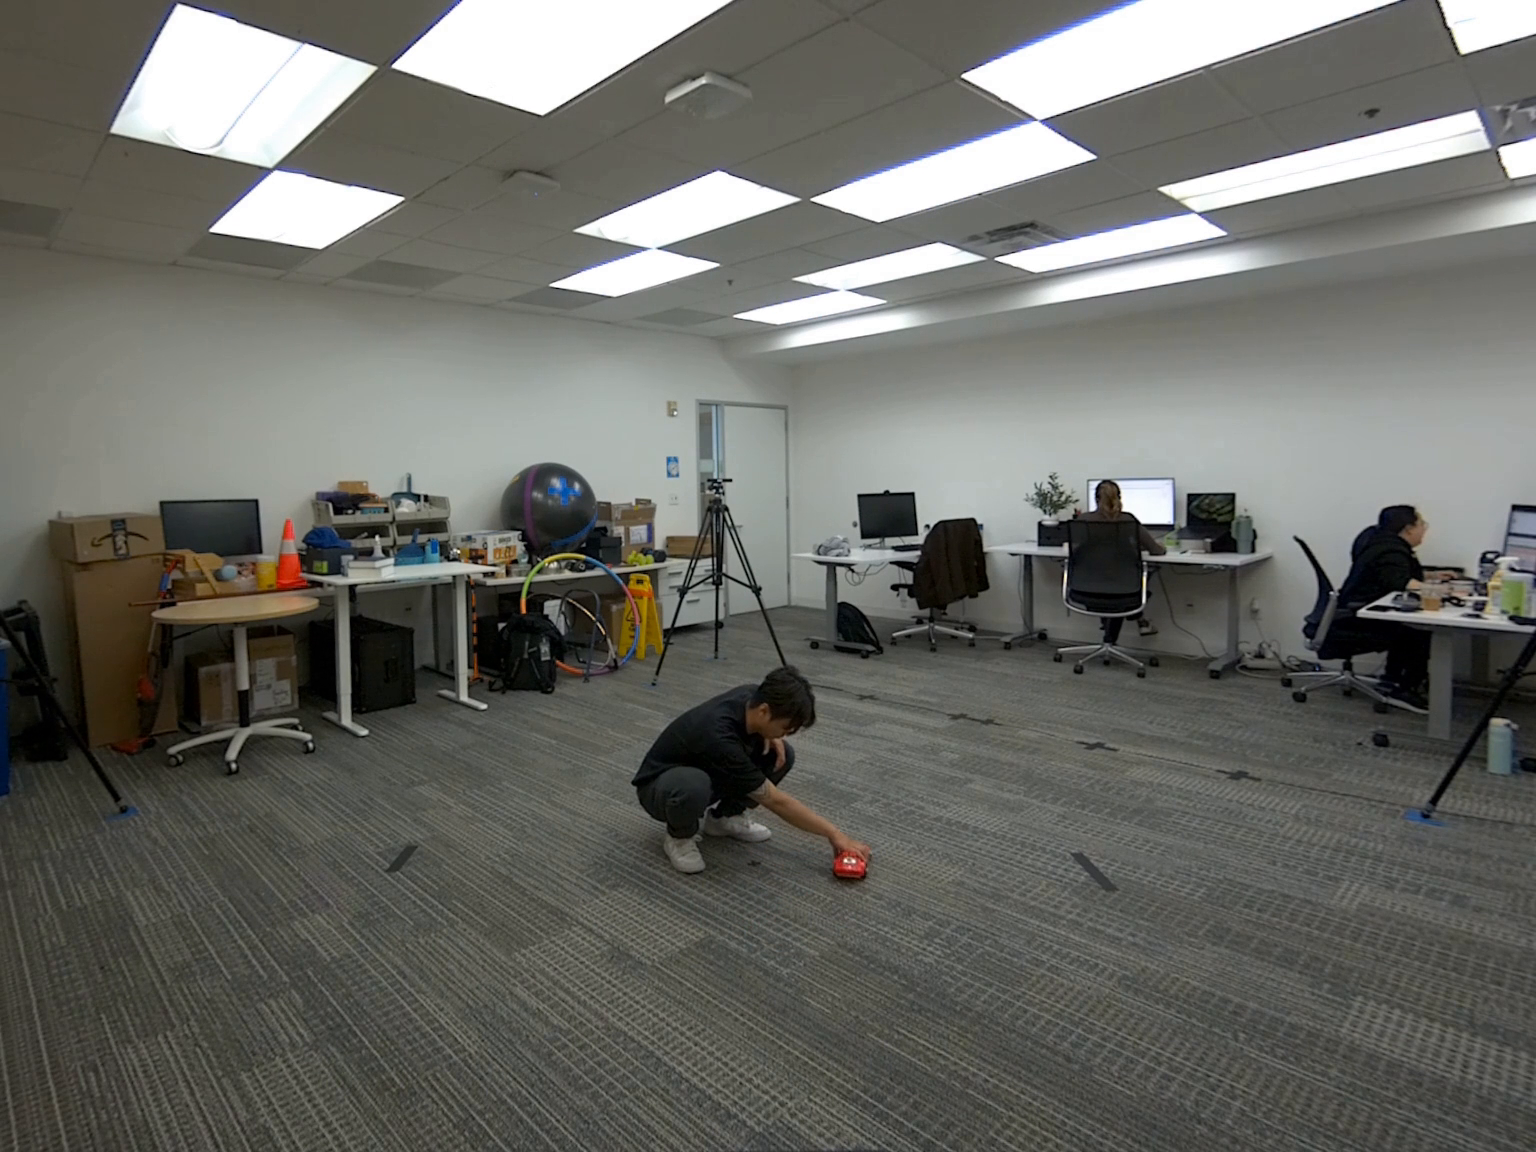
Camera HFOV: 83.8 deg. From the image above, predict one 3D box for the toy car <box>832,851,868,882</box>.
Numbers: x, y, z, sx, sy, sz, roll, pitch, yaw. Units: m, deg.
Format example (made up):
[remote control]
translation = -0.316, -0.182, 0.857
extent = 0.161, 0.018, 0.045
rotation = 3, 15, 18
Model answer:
[toy car]
translation = 0.291, 1.011, 3.042
extent = 0.132, 0.083, 0.250
rotation = 2, -5, 12
